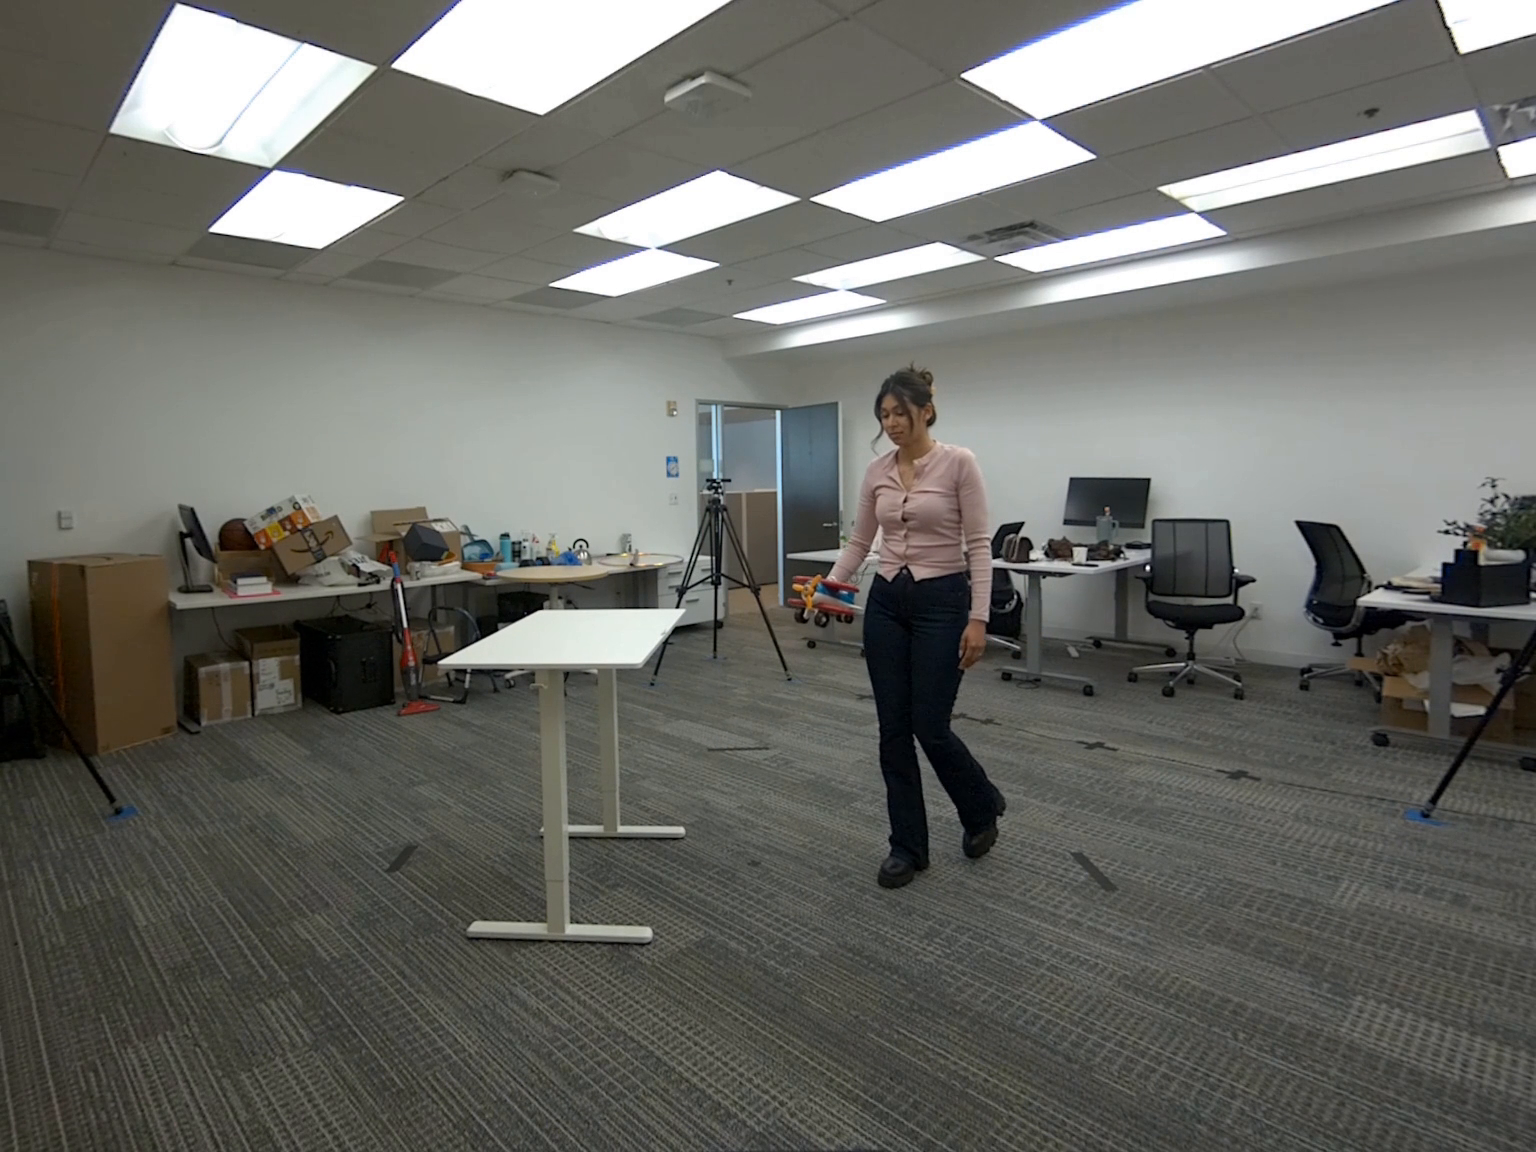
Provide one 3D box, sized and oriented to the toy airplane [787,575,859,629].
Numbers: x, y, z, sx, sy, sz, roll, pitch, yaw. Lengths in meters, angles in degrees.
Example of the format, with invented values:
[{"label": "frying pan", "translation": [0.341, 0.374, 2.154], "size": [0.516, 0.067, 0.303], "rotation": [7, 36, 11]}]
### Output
[{"label": "toy airplane", "translation": [0.197, 0.085, 2.885], "size": [0.255, 0.156, 0.255], "rotation": [4, 5, 16]}]
